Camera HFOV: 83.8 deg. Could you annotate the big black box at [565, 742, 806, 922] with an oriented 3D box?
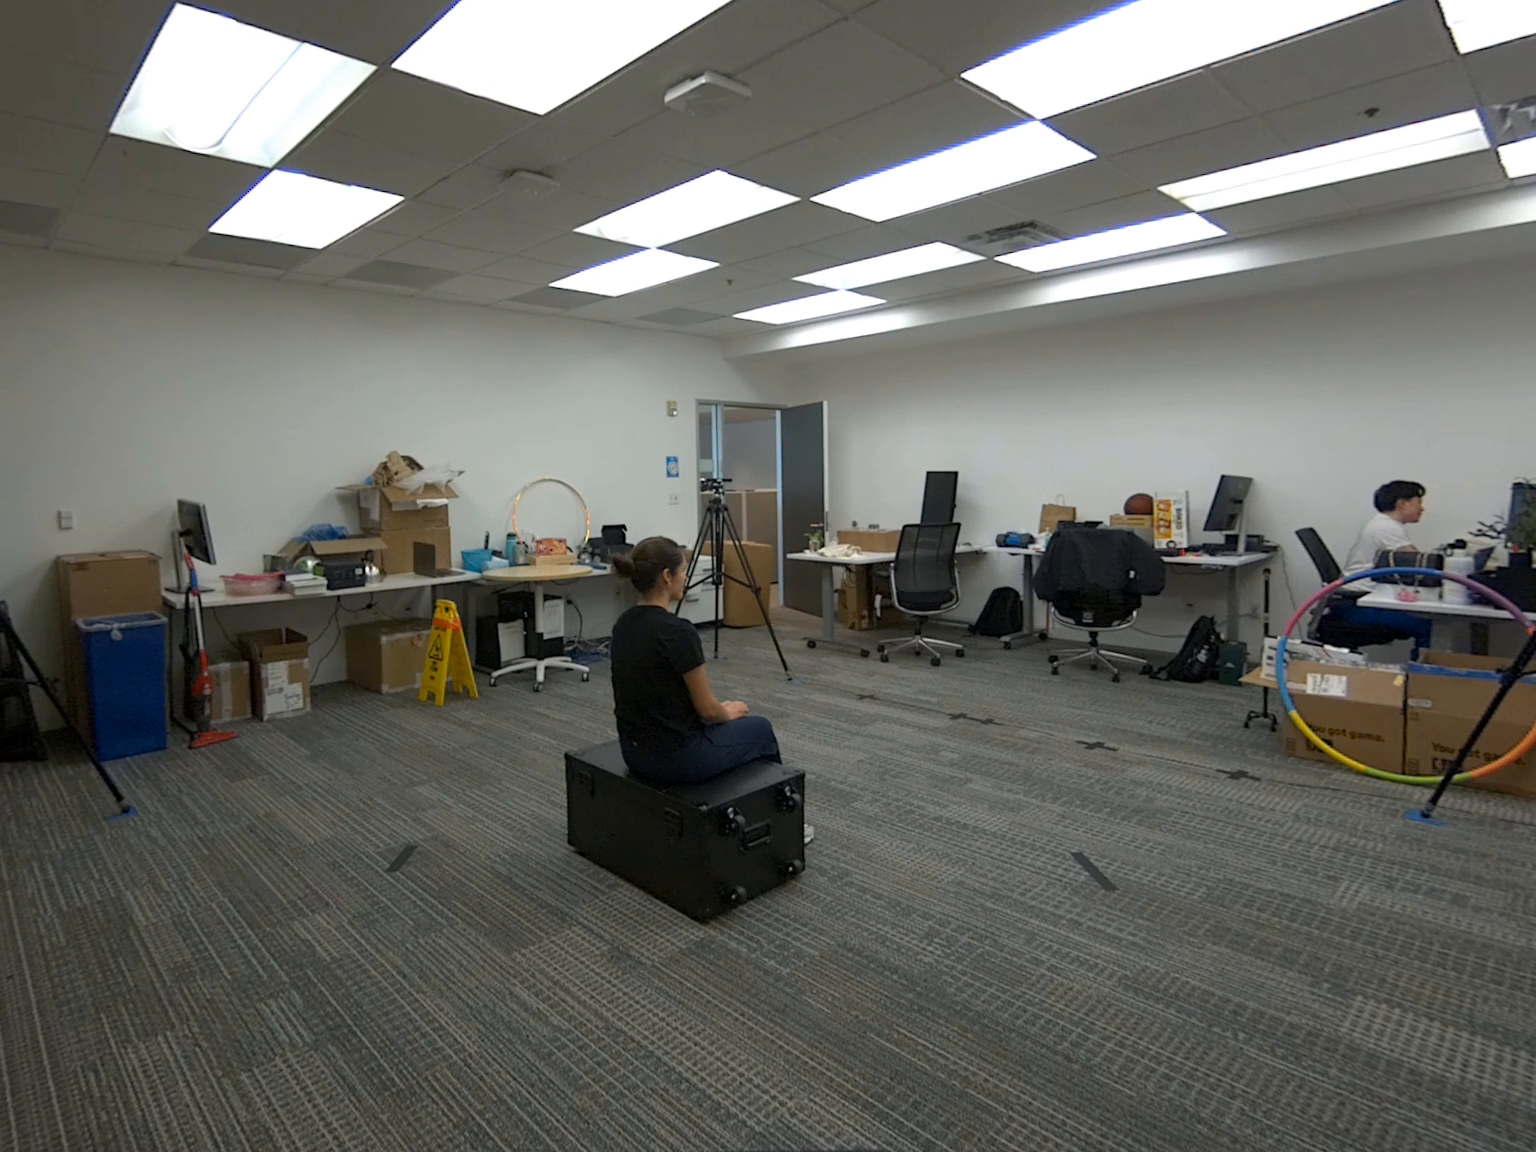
[{"bbox_3d":[-0.297,0.862,3.093,0.508,0.394,0.888,-7,8,-44],"label":"big black box"}]
